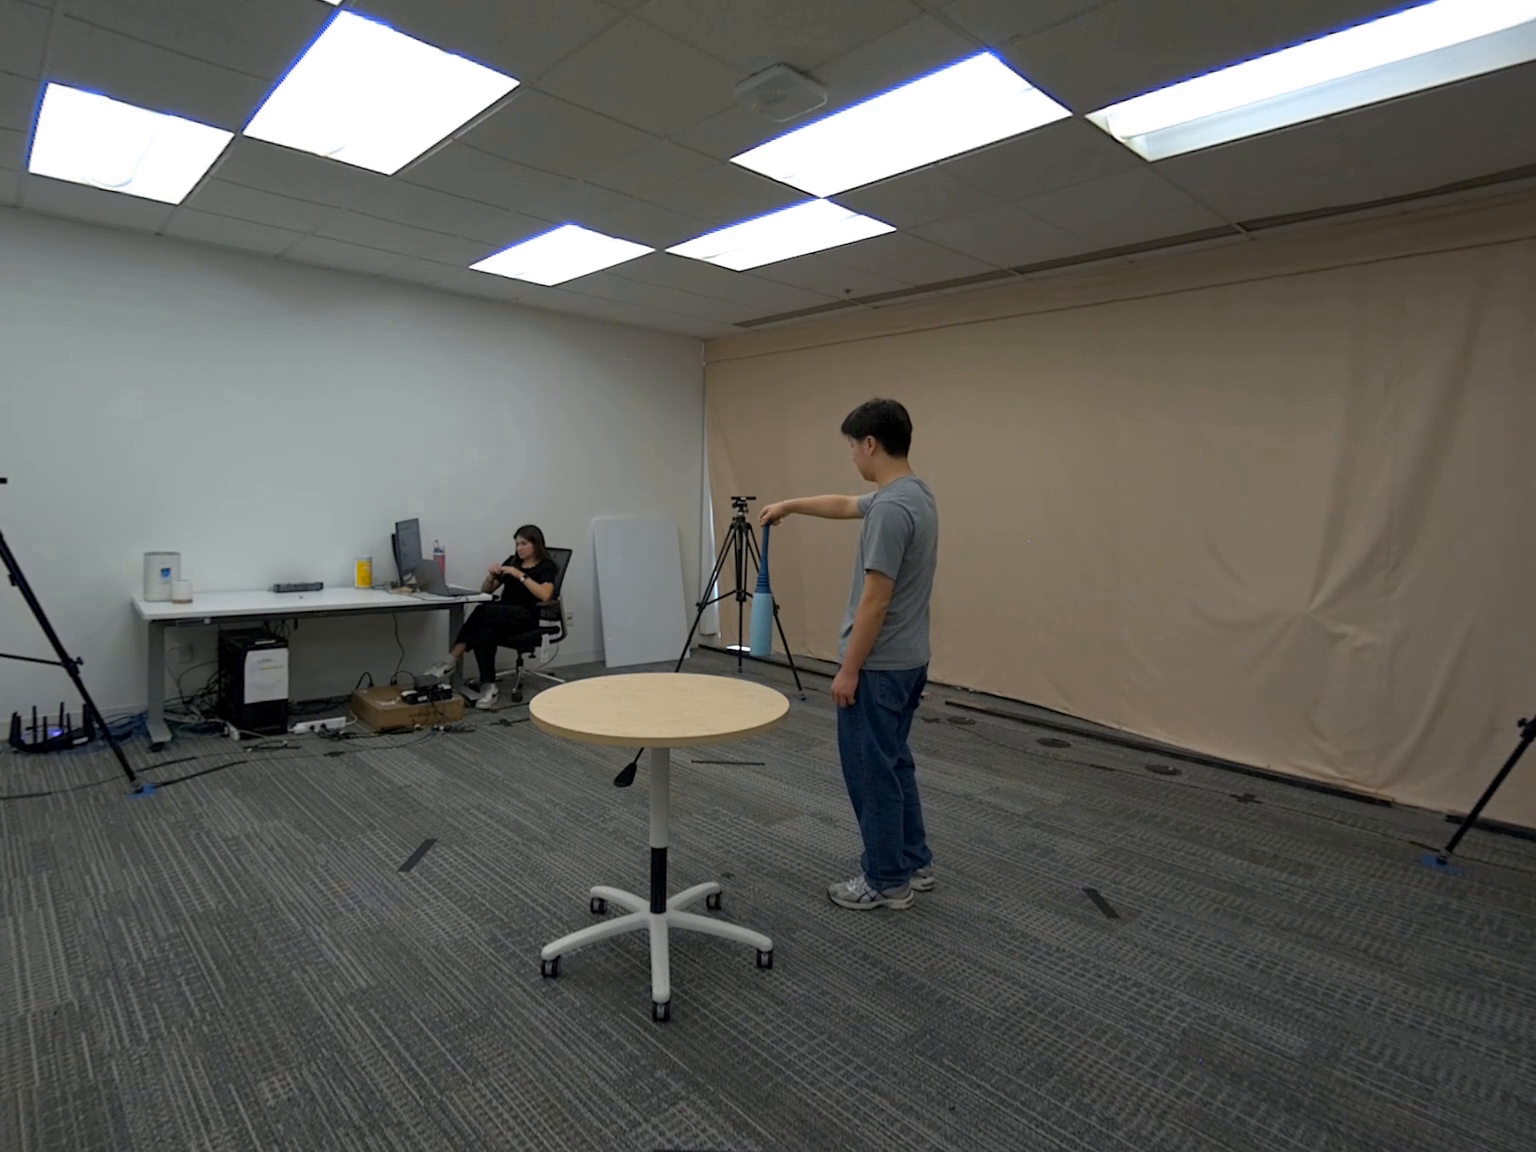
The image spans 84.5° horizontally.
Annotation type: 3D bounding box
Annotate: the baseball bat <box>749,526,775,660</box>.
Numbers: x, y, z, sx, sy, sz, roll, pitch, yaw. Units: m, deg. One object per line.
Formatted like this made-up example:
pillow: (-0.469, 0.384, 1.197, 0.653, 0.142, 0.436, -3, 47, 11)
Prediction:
baseball bat: (-0.020, 0.047, 3.295, 0.089, 0.543, 0.089, 1, 0, -1)
